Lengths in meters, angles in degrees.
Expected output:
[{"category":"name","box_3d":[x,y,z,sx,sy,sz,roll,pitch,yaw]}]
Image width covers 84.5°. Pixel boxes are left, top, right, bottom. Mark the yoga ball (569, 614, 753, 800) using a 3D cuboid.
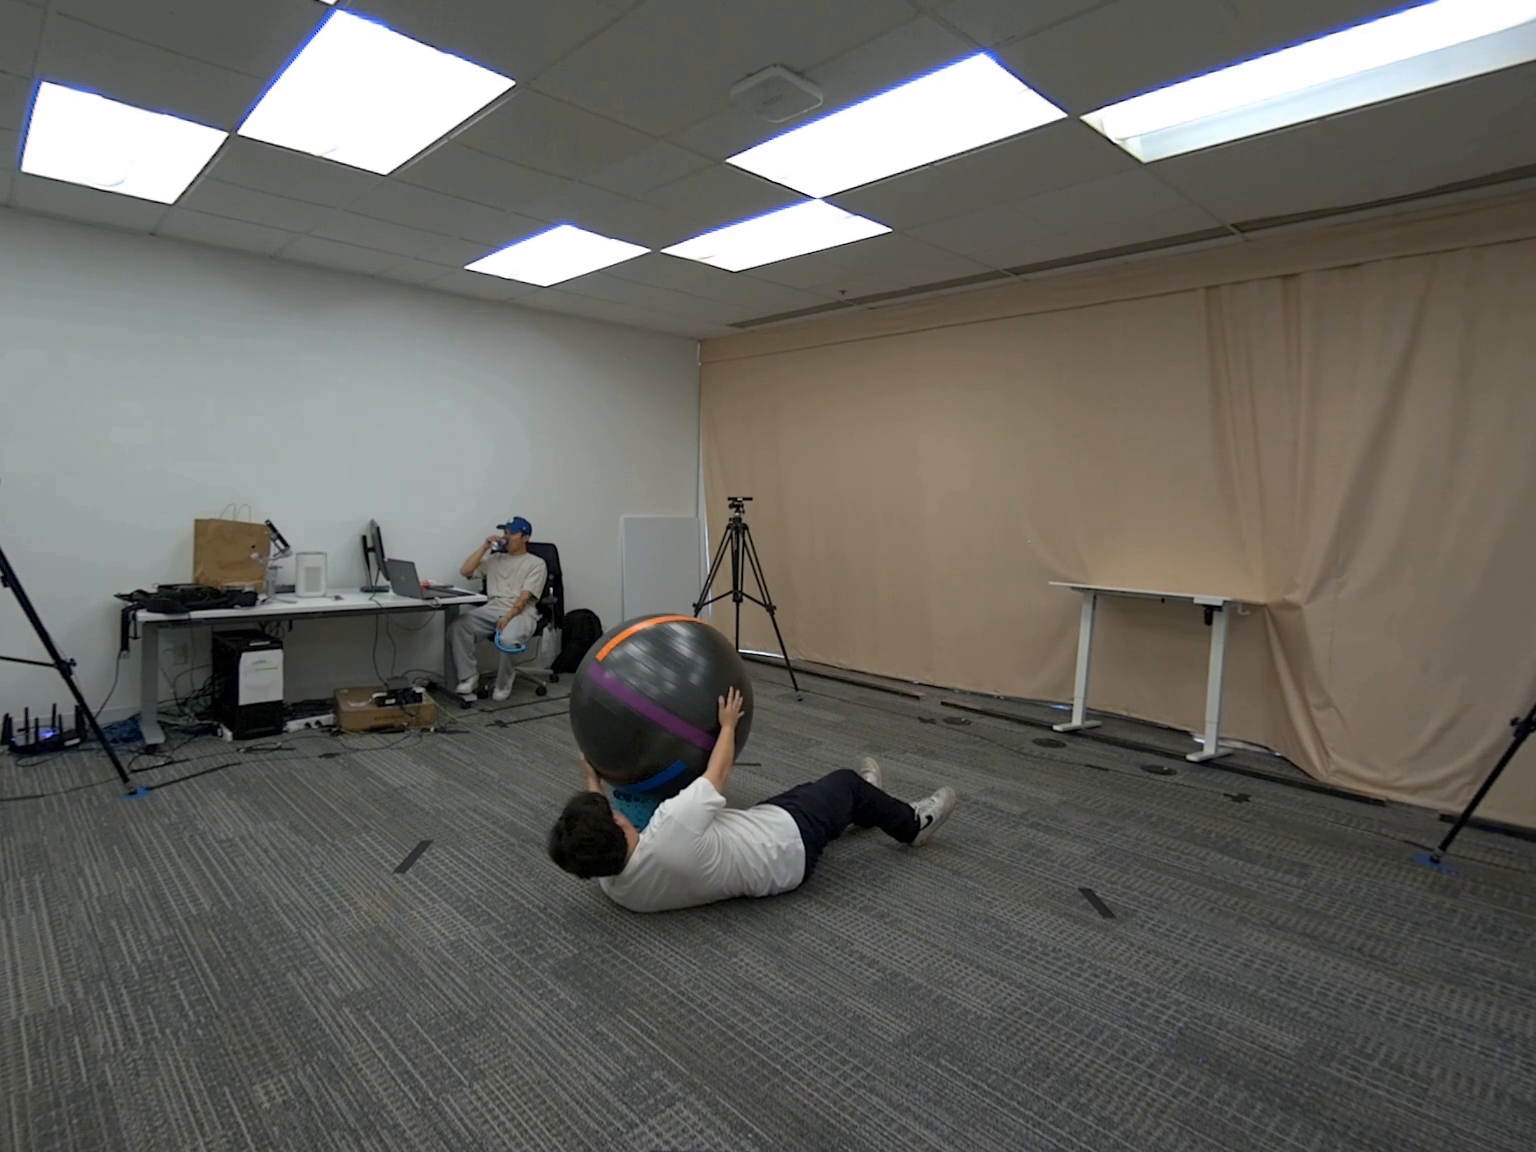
[{"category":"yoga ball","box_3d":[-0.449,0.533,3.505,0.757,0.756,0.761,1,4,-1]}]
